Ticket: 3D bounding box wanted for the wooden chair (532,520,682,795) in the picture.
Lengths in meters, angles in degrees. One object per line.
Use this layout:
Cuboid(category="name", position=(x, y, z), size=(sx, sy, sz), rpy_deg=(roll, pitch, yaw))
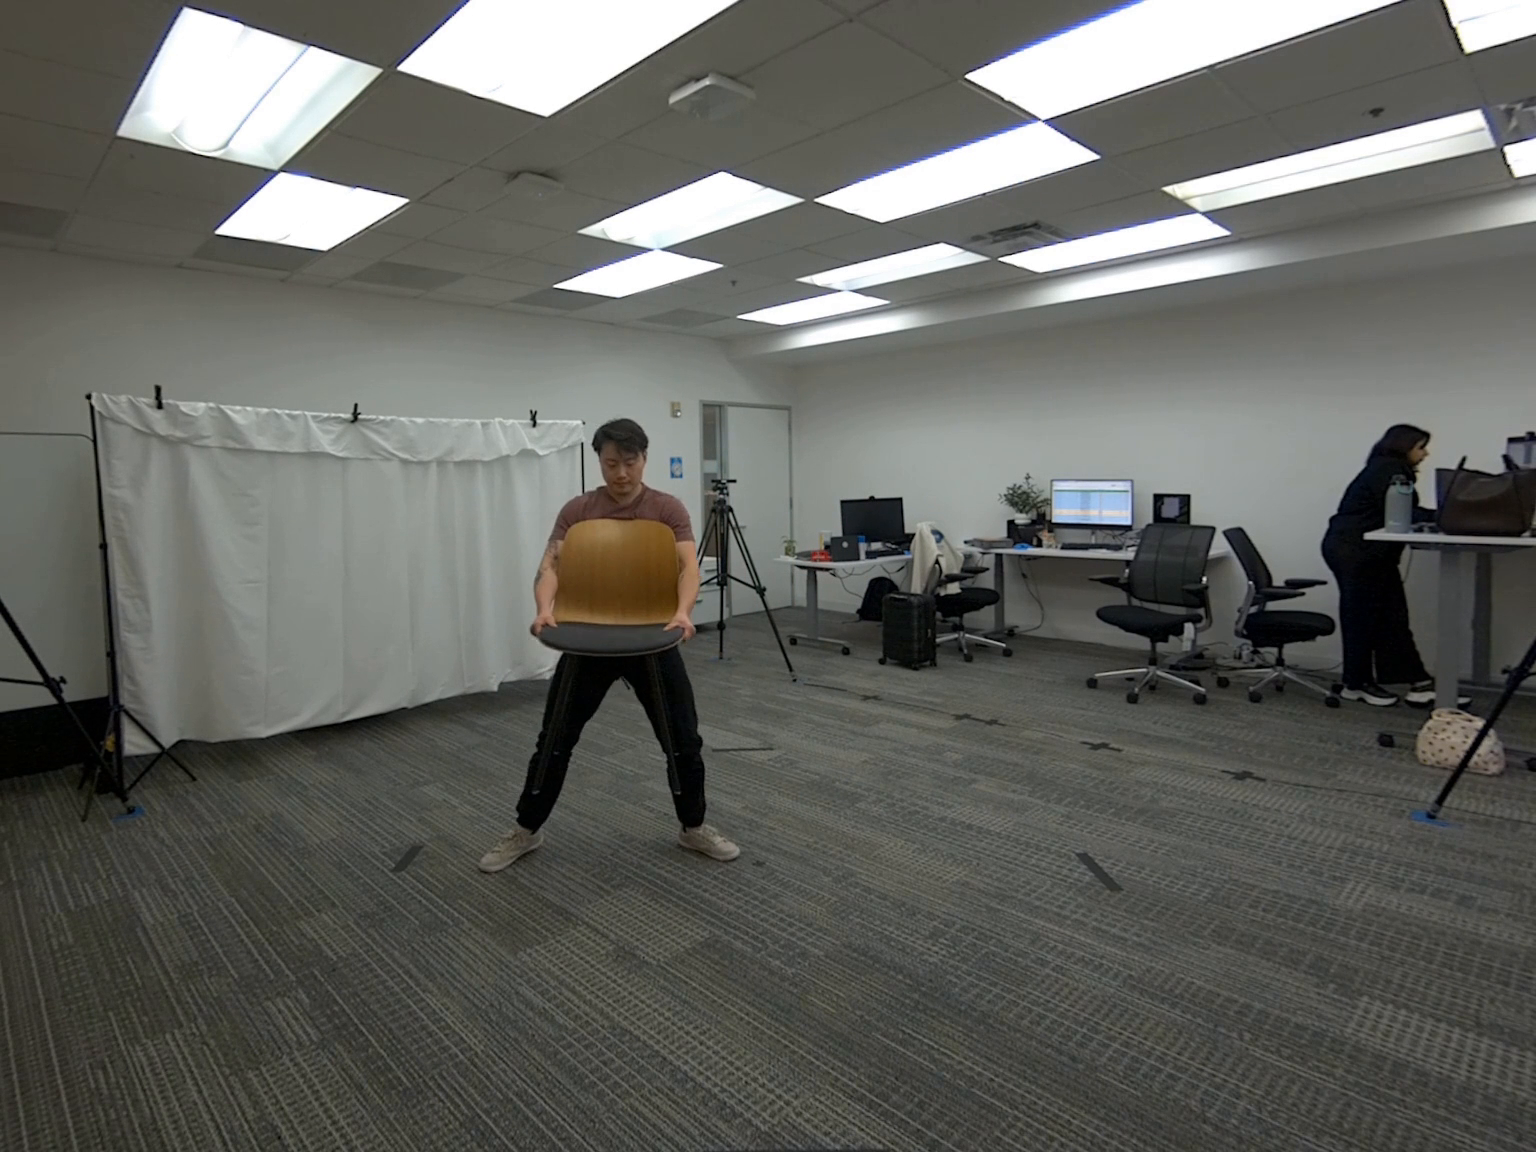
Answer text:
Cuboid(category="wooden chair", position=(-0.506, 0.236, 2.842), size=(0.477, 0.879, 0.524), rpy_deg=(1, -2, -4))
